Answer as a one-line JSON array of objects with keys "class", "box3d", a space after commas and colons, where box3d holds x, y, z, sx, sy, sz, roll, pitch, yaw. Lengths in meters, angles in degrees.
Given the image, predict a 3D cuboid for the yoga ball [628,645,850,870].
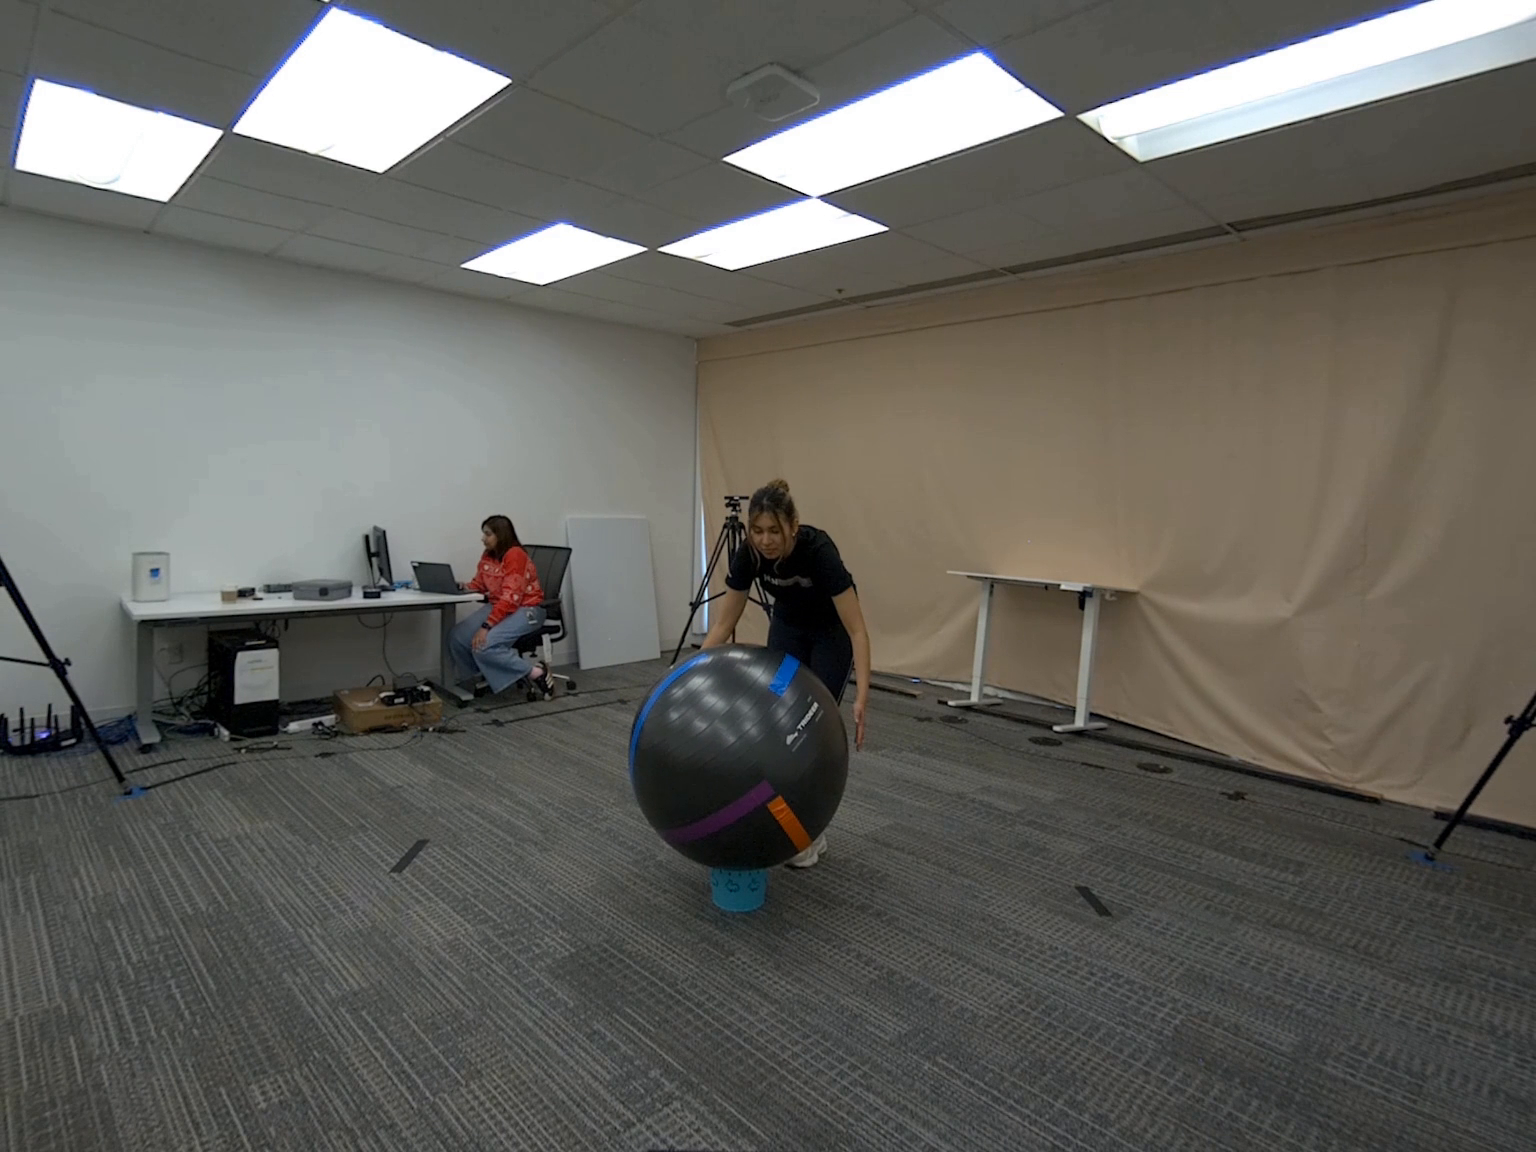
[{"class": "yoga ball", "box3d": [-0.100, 0.618, 2.883, 0.757, 0.756, 0.761, 1, 4, -1]}]
